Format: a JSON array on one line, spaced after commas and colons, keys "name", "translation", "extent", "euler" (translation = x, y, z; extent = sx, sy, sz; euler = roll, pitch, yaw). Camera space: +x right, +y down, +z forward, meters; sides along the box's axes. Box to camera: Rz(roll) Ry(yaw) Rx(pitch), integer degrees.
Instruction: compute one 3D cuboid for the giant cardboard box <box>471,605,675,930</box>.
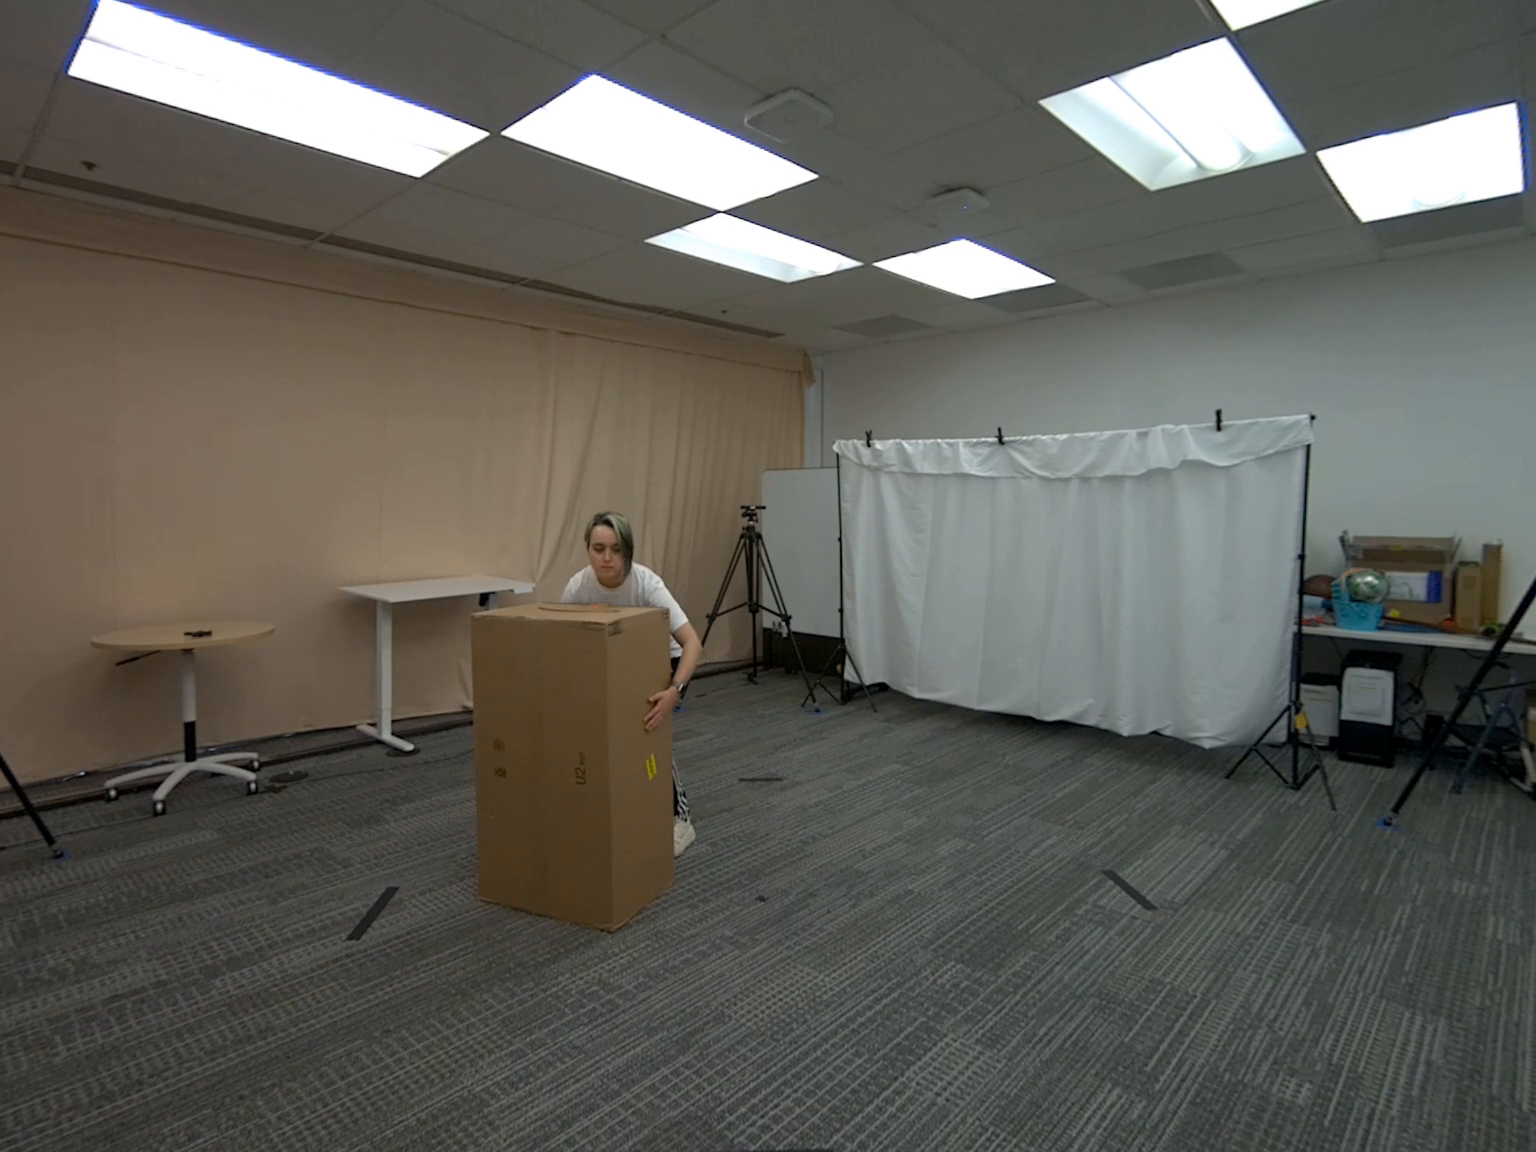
[{"name": "giant cardboard box", "translation": [-0.693, 0.639, 3.039], "extent": [0.592, 1.024, 0.417], "euler": [0, 3, 24]}]
